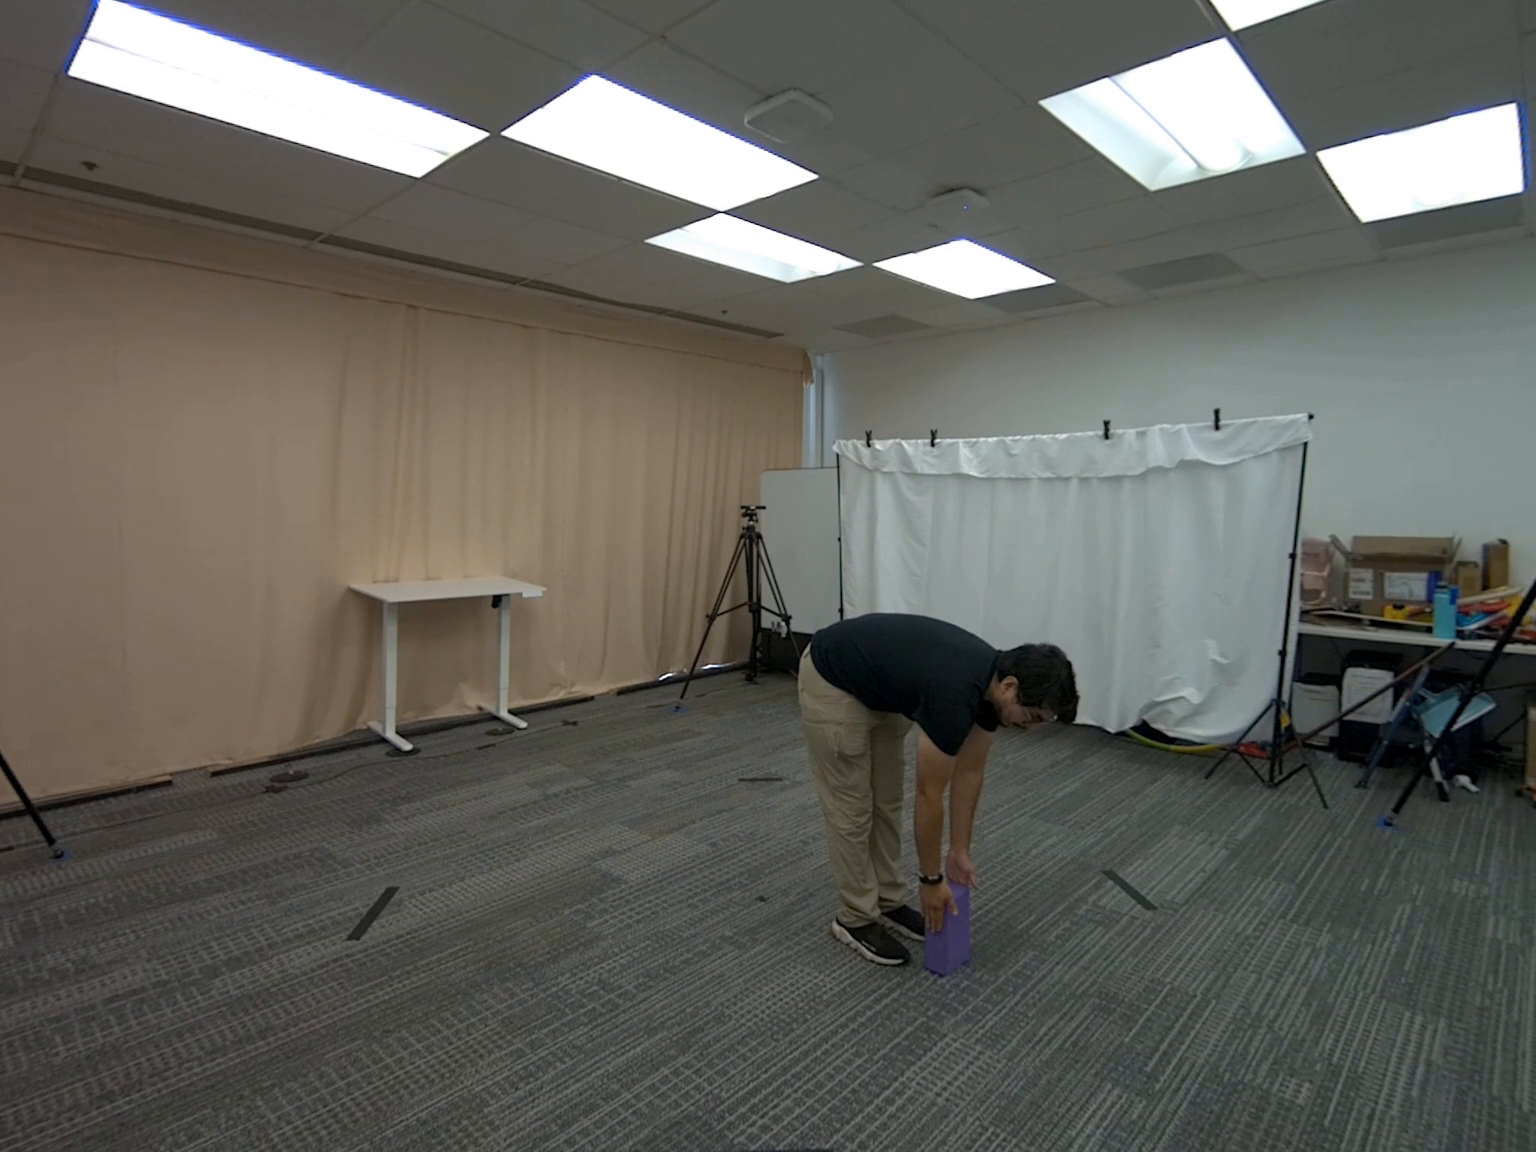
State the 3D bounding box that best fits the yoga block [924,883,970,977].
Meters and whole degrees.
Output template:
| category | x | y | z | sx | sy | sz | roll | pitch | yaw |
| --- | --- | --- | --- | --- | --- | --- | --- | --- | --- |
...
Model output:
| category | x | y | z | sx | sy | sz | roll | pitch | yaw |
| --- | --- | --- | --- | --- | --- | --- | --- | --- | --- |
| yoga block | 0.545 | 1.065 | 2.547 | 0.144 | 0.229 | 0.079 | -3 | 5 | -44 |
